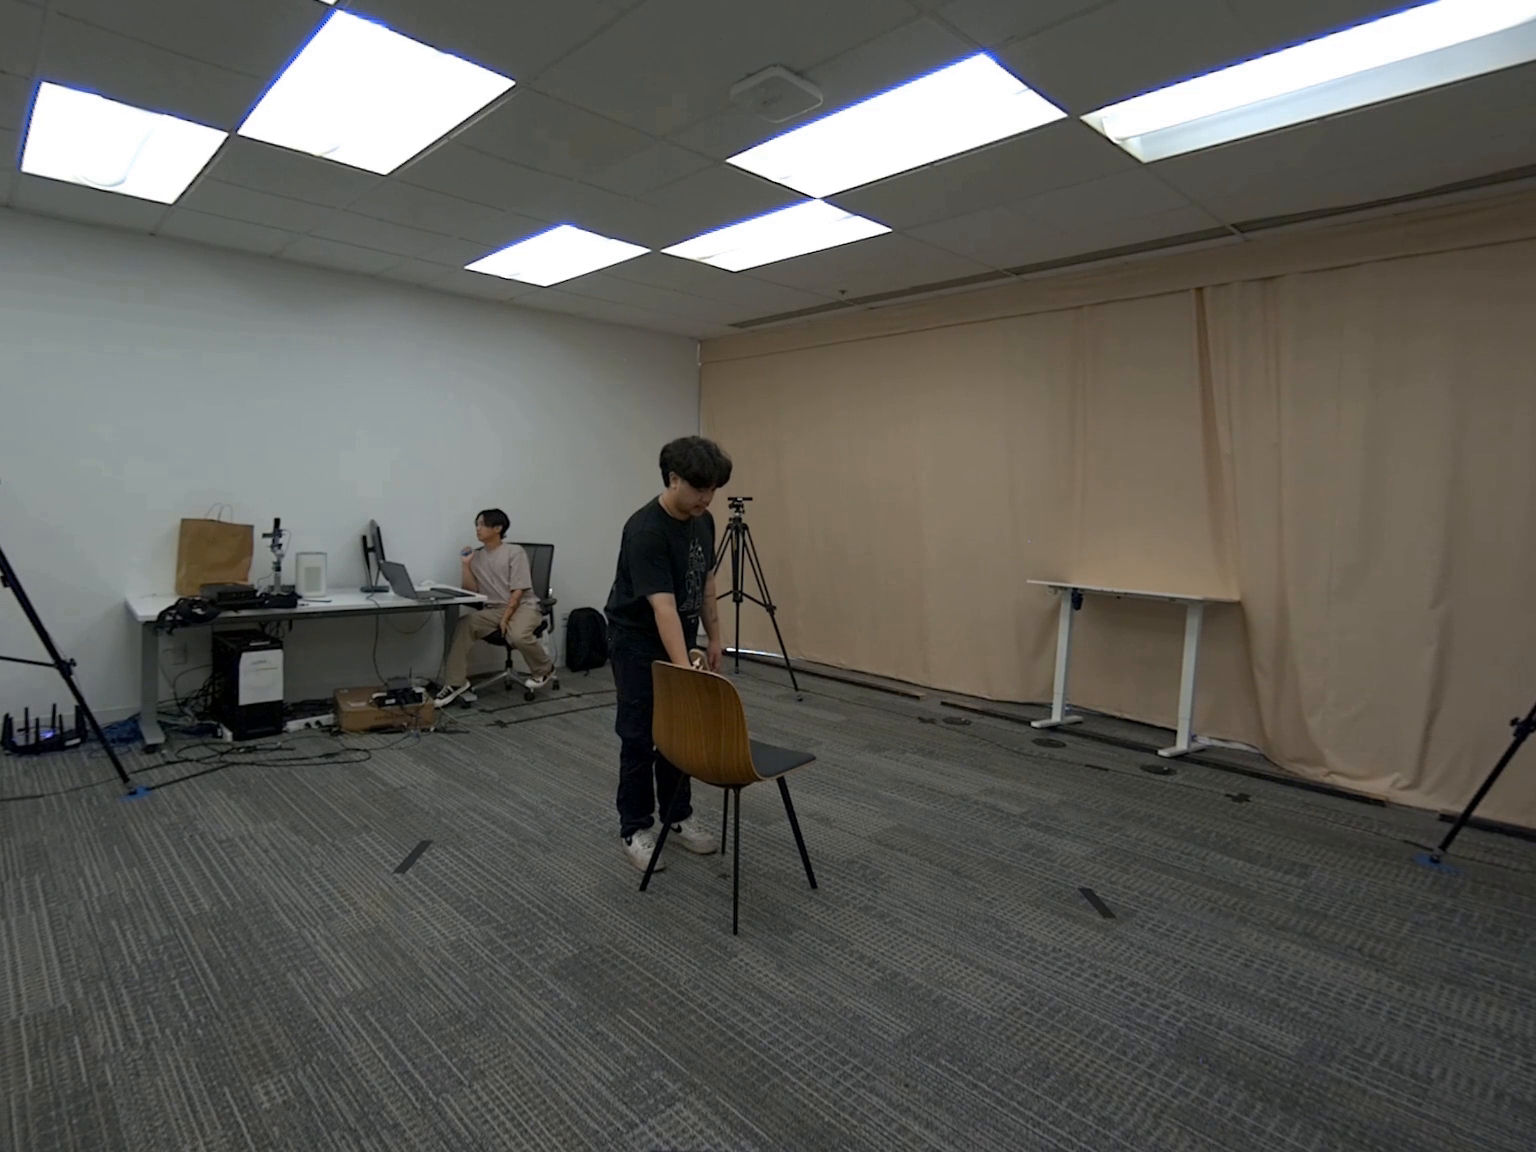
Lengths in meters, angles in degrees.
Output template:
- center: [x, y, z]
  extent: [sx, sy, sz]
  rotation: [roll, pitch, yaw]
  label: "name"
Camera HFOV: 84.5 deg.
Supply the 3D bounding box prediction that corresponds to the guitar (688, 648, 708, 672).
- center: [-0.215, 0.443, 2.855]
  extent: [0.197, 0.485, 0.071]
  rotation: [4, 40, 30]
  label: "guitar"
